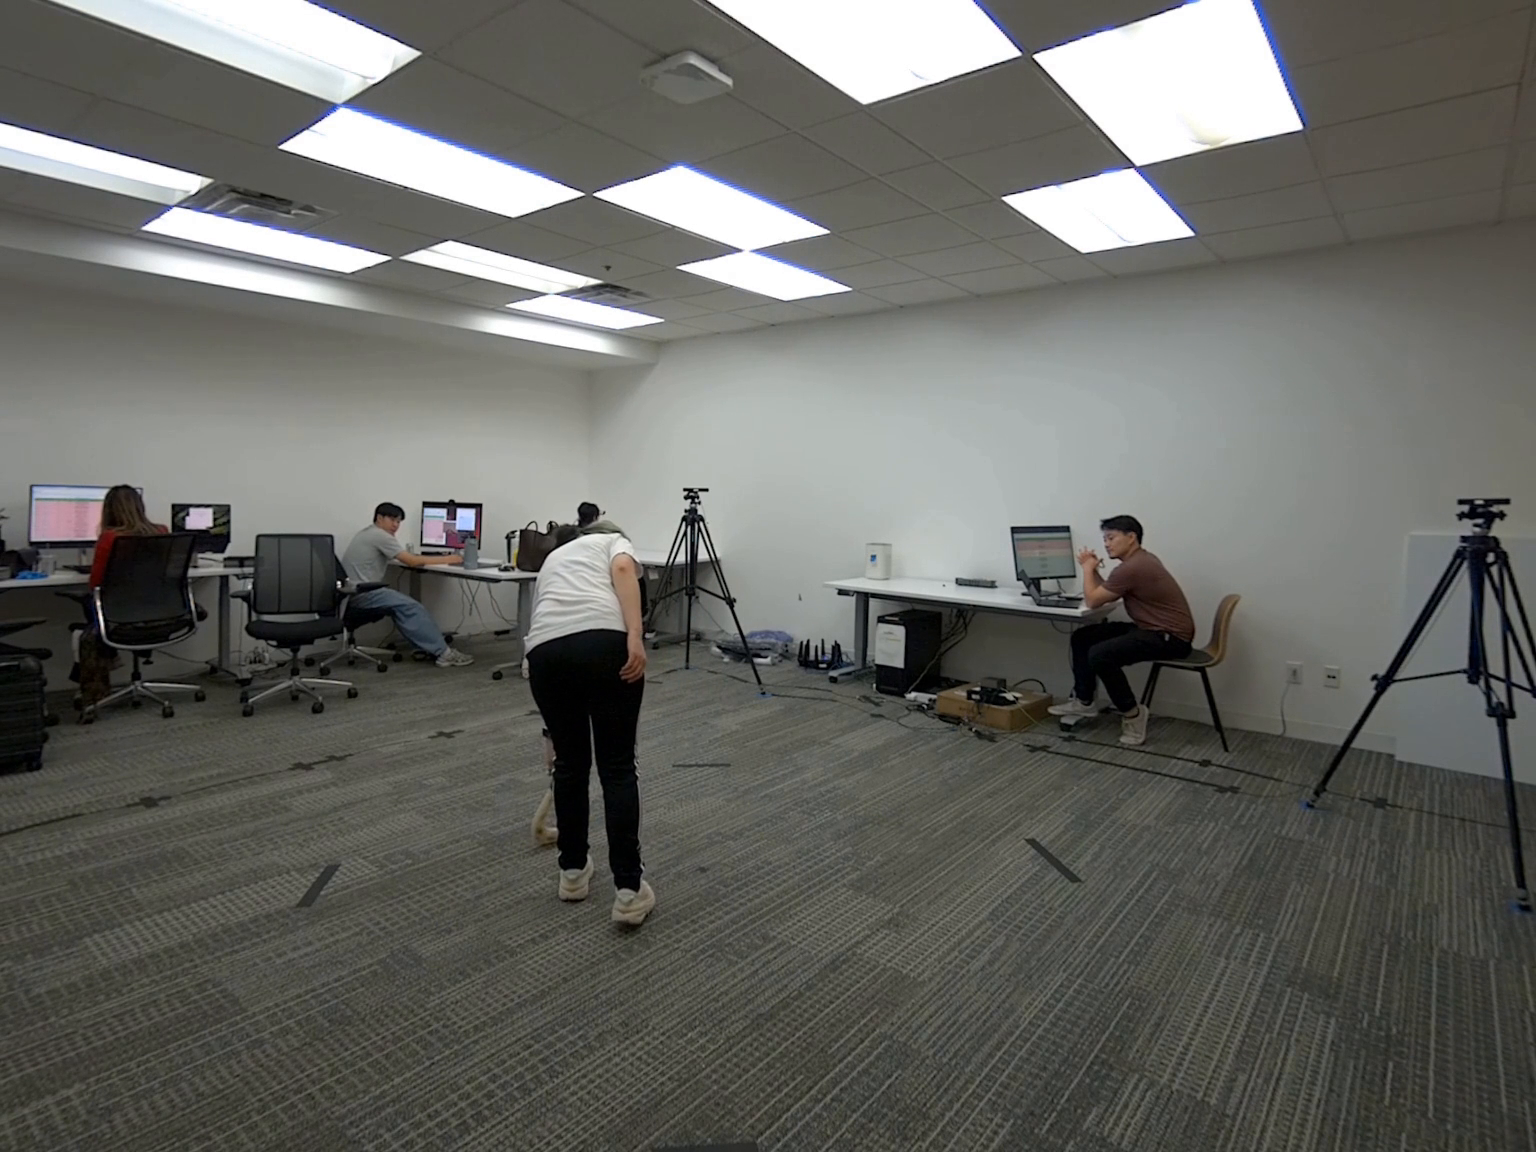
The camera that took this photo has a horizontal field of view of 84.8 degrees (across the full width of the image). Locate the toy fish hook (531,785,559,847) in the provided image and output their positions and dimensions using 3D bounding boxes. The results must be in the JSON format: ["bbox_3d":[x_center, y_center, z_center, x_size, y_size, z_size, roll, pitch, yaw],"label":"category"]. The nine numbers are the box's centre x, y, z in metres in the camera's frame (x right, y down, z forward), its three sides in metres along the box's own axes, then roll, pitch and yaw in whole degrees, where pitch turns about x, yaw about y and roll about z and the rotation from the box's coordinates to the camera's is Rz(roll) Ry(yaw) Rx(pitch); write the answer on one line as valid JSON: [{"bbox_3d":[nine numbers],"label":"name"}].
[{"bbox_3d":[-0.783,0.822,3.212,0.219,0.498,0.050,-8,38,-35],"label":"toy fish hook"}]
